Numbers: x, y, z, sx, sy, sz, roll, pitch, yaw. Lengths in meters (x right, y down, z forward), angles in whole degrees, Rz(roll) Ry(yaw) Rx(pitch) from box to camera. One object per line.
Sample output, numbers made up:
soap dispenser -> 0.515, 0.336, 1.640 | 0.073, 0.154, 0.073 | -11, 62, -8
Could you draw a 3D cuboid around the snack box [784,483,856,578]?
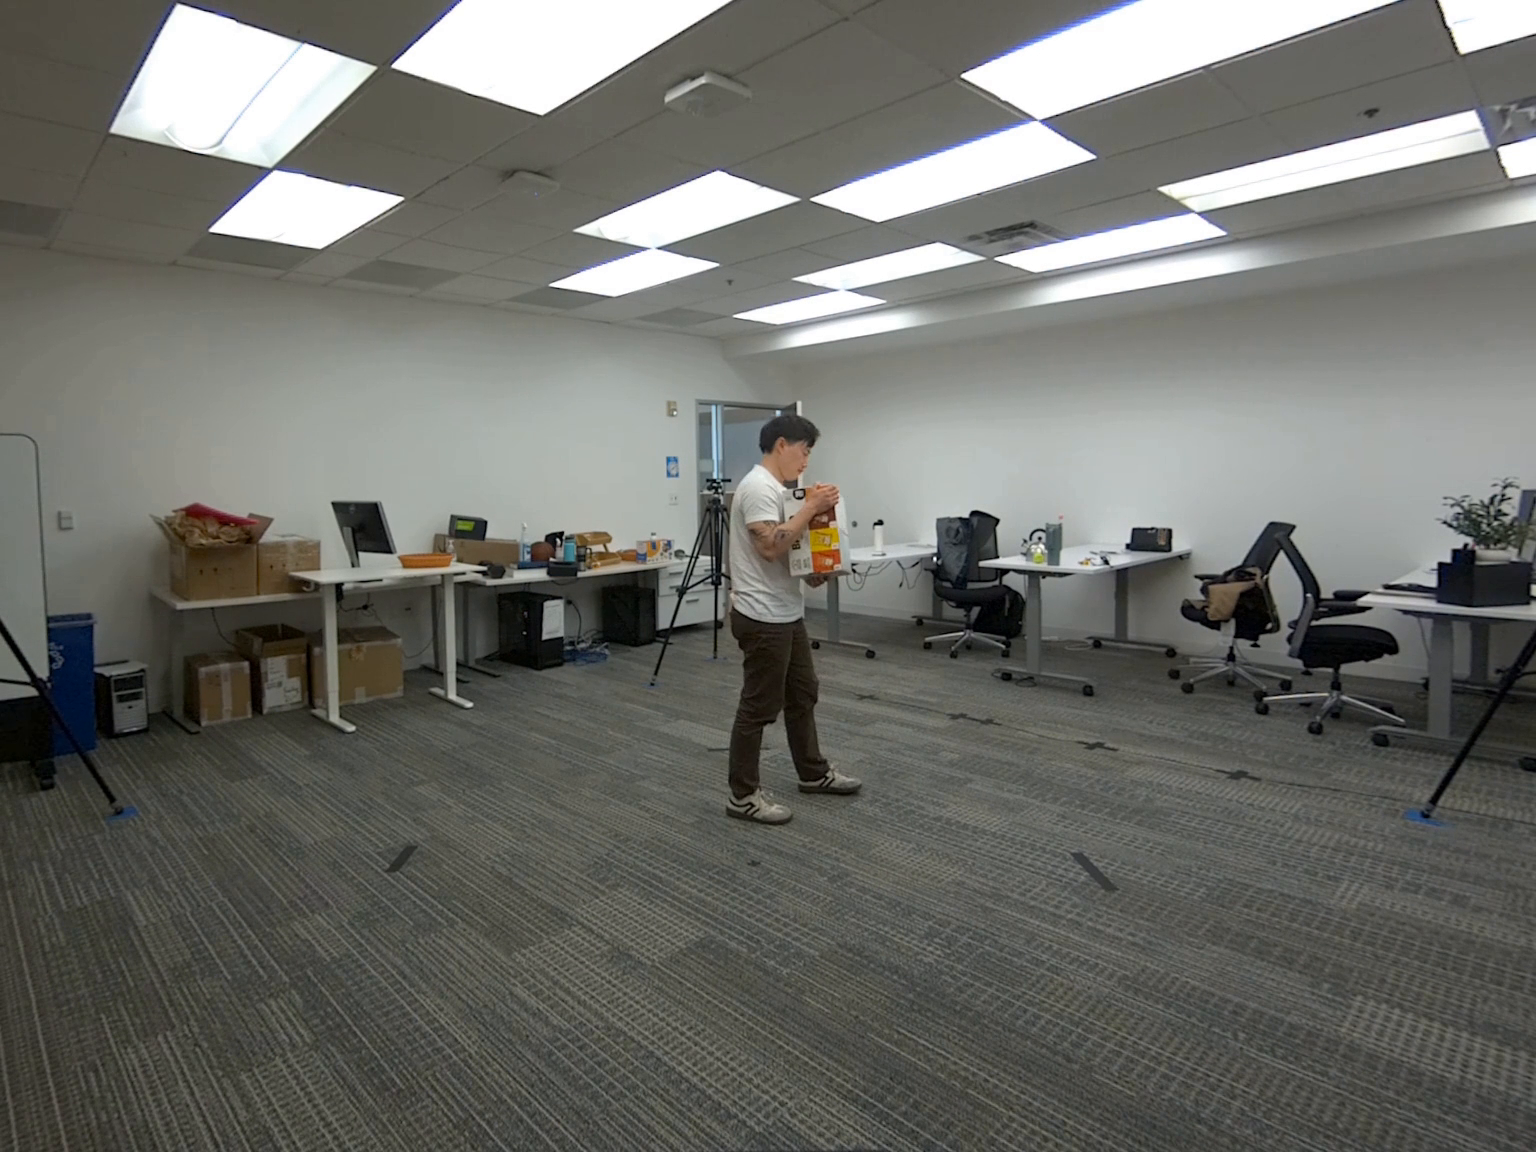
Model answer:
snack box -> 0.211, -0.173, 3.513 | 0.208, 0.342, 0.398 | -8, -5, 13
